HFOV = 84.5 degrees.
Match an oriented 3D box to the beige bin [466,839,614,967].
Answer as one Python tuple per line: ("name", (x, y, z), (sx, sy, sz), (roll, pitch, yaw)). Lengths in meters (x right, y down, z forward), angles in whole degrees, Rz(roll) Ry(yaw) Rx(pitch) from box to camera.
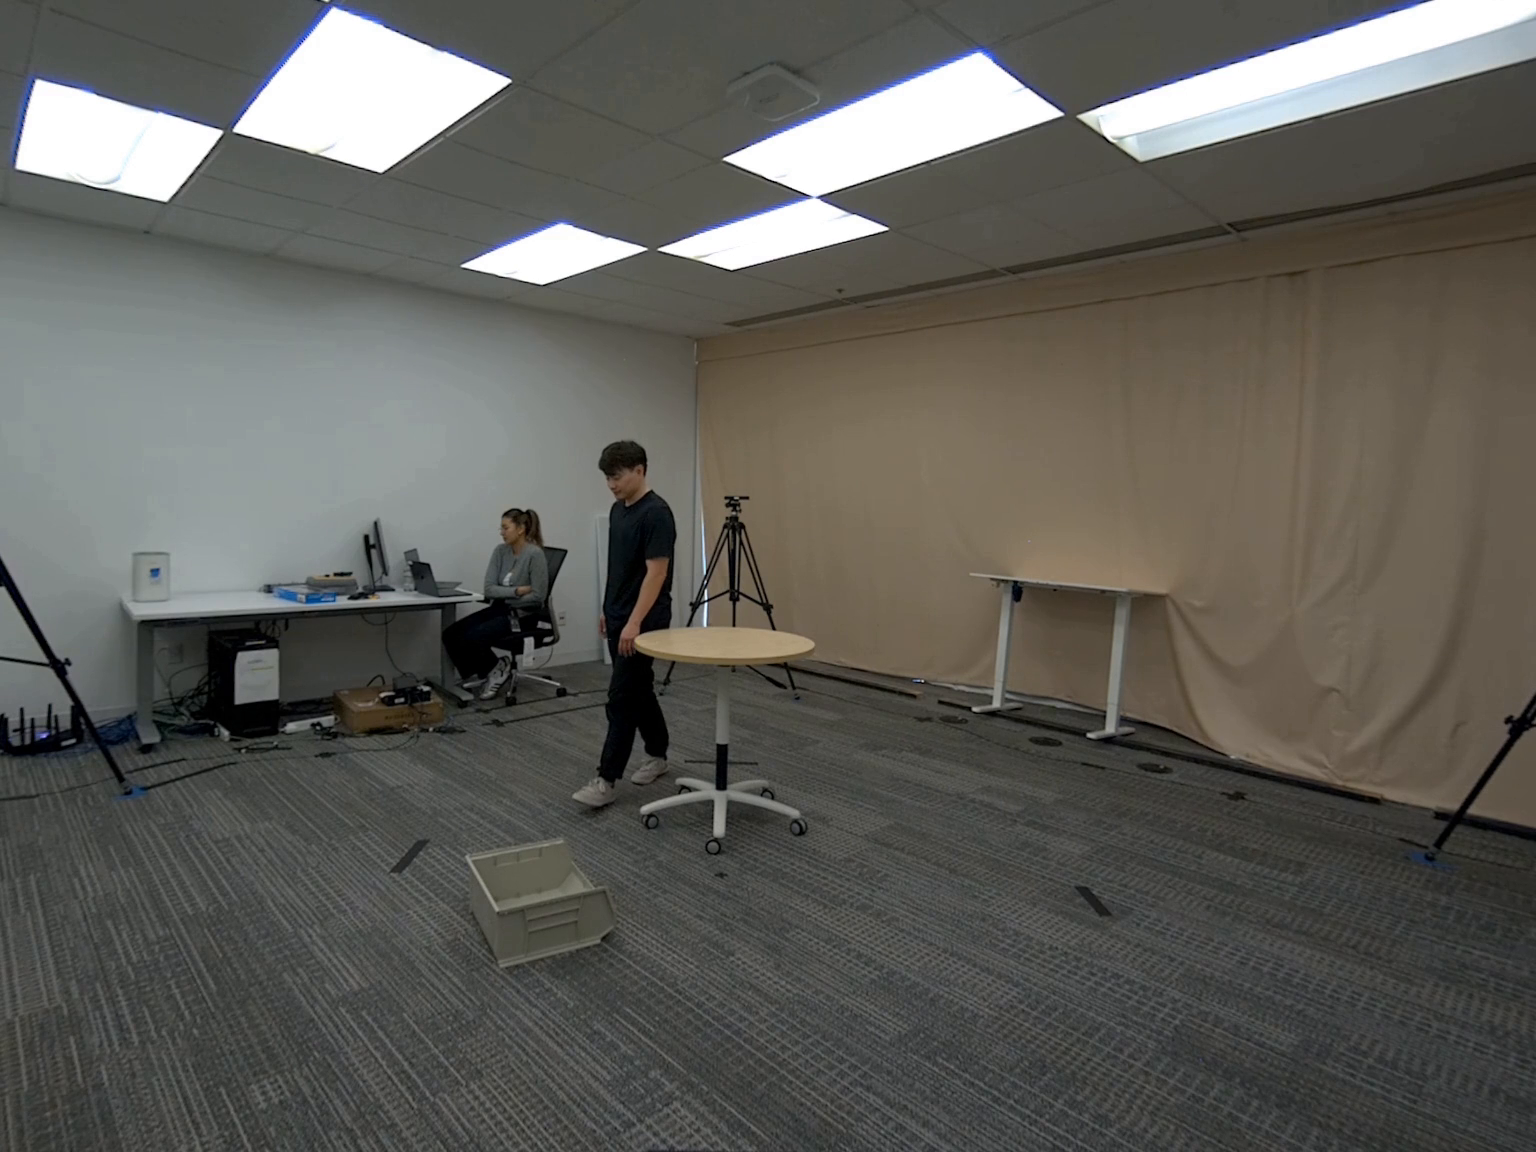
("beige bin", (-0.748, 1.039, 2.715), (0.370, 0.188, 0.432), (-2, 7, -31))
